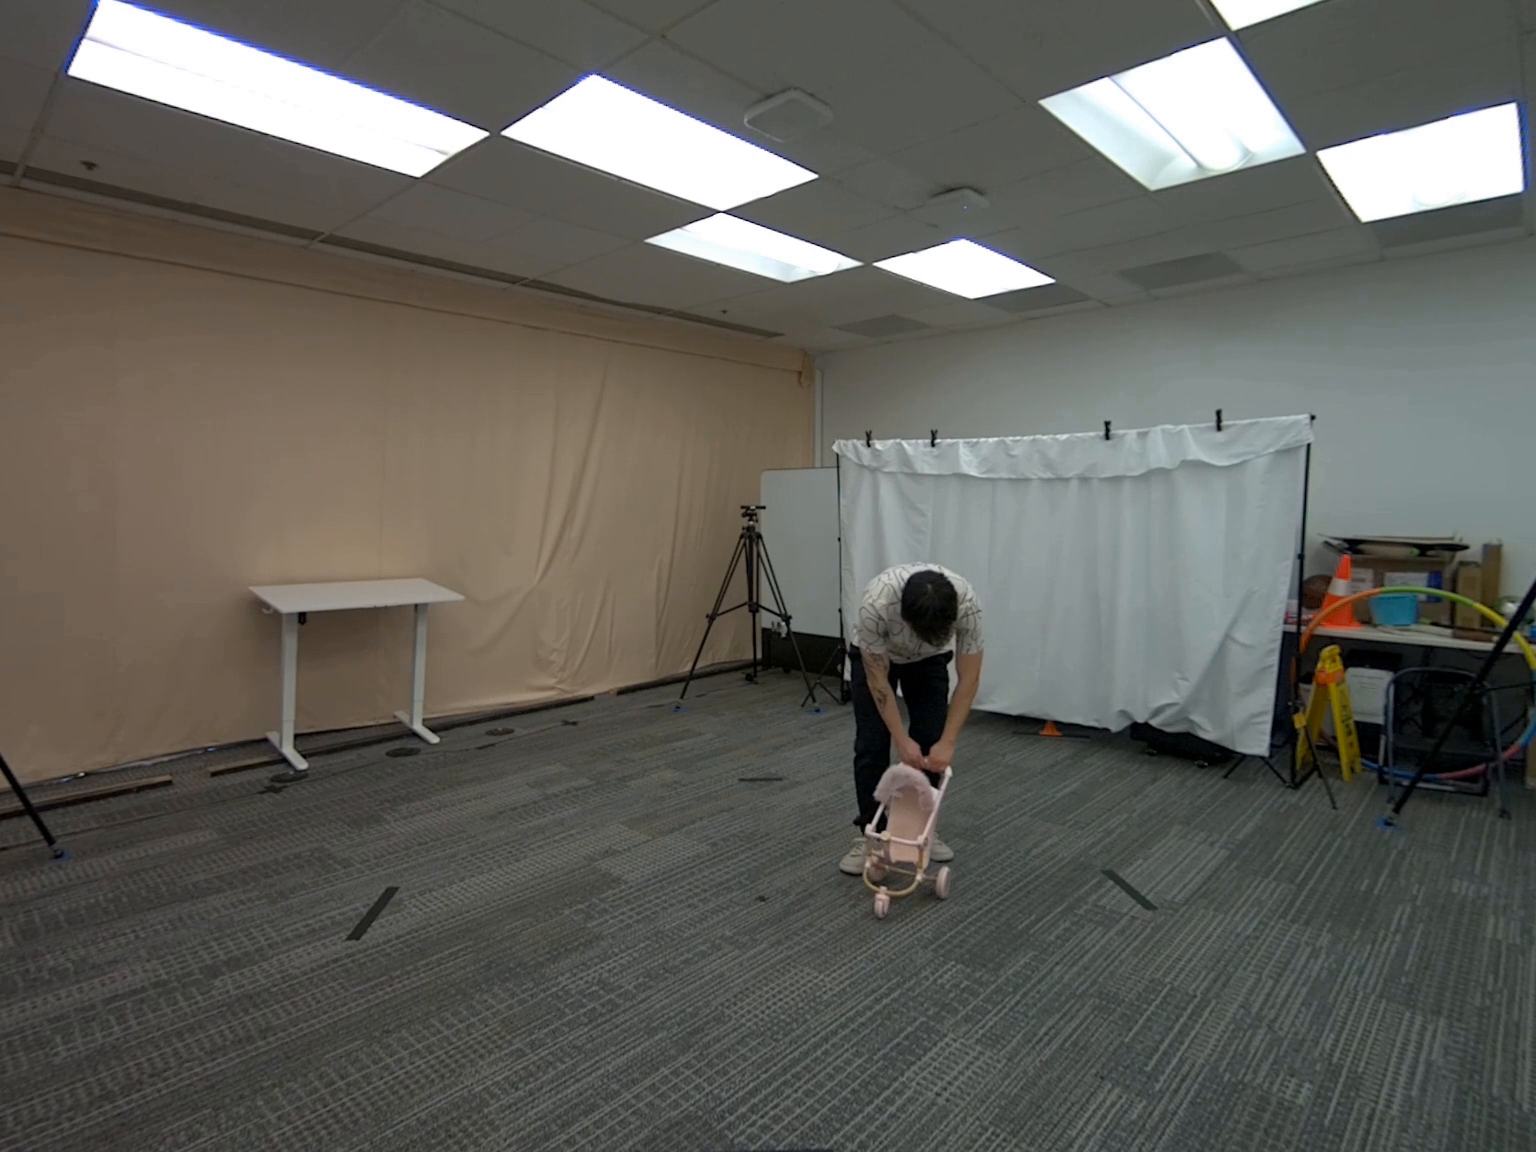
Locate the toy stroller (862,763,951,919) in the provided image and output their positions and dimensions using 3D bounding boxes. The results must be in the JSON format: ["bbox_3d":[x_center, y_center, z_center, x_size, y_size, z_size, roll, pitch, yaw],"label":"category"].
[{"bbox_3d":[0.482,0.911,2.989,0.290,0.537,0.329,2,-11,36],"label":"toy stroller"}]
